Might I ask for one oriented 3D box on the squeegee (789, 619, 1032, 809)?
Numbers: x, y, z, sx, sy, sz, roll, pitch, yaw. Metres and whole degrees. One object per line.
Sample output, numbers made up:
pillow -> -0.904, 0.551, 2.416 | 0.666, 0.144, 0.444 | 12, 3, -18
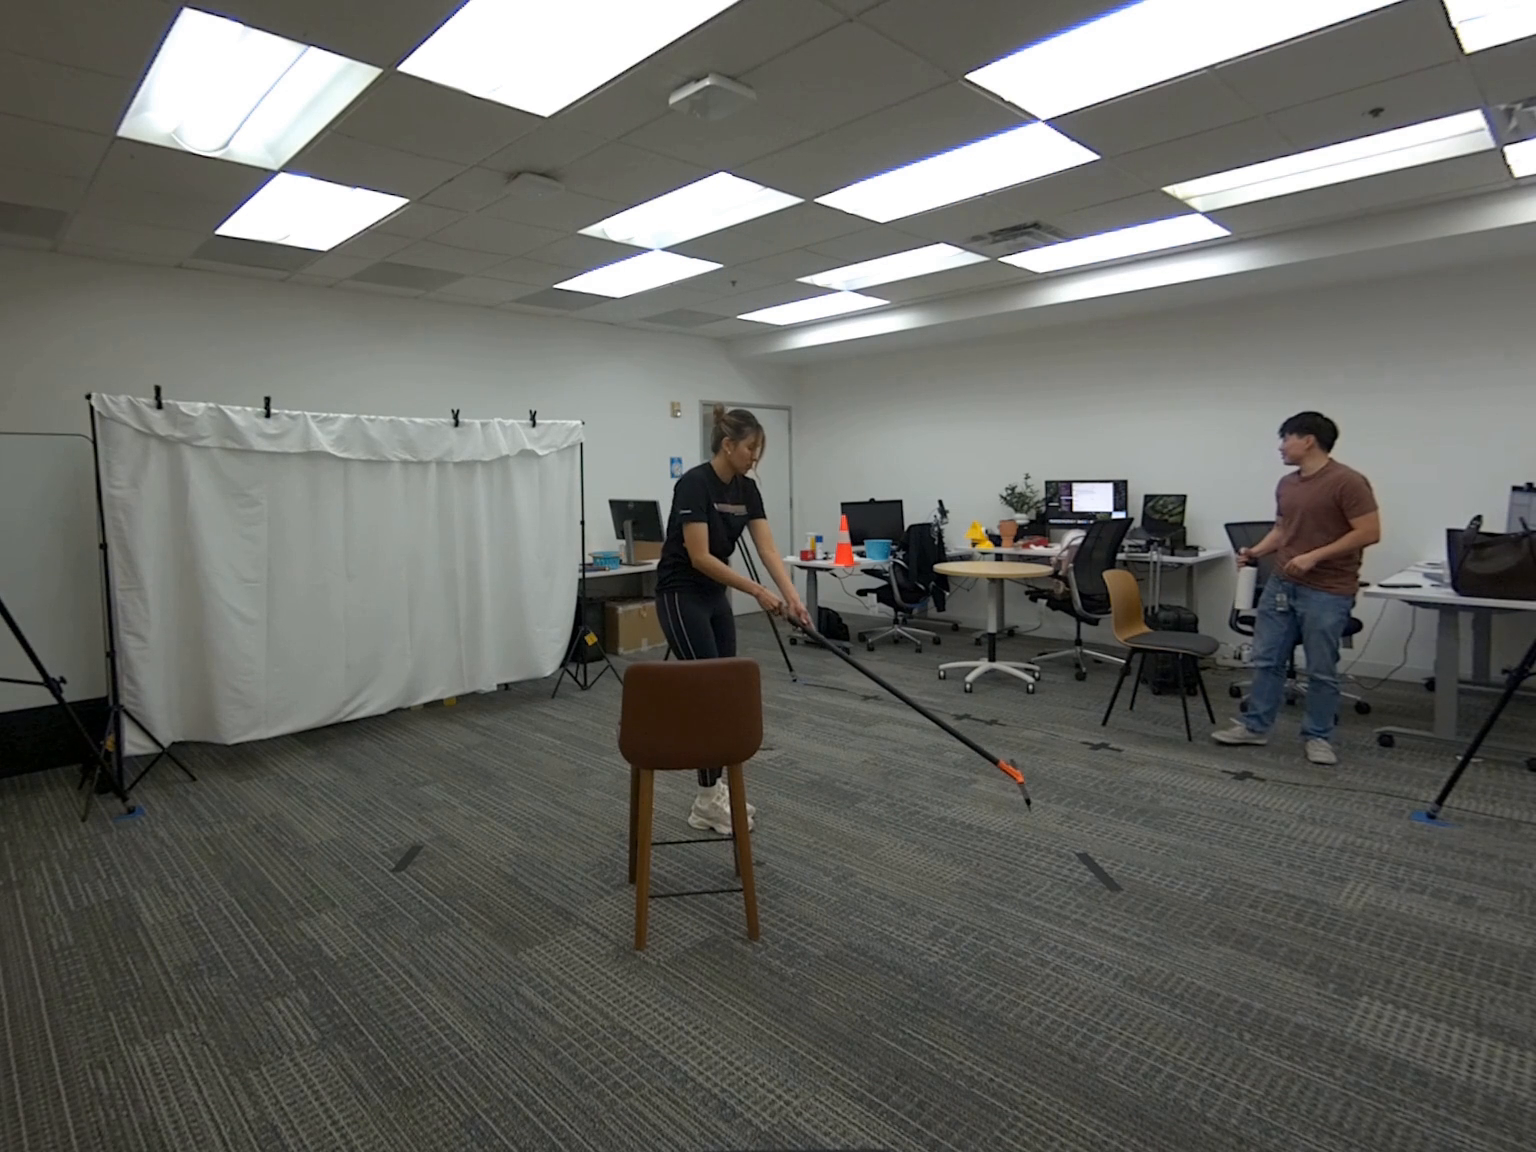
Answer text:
squeegee -> 0.340, 0.337, 3.228 | 1.557, 0.053, 0.432 | 36, 7, 9
